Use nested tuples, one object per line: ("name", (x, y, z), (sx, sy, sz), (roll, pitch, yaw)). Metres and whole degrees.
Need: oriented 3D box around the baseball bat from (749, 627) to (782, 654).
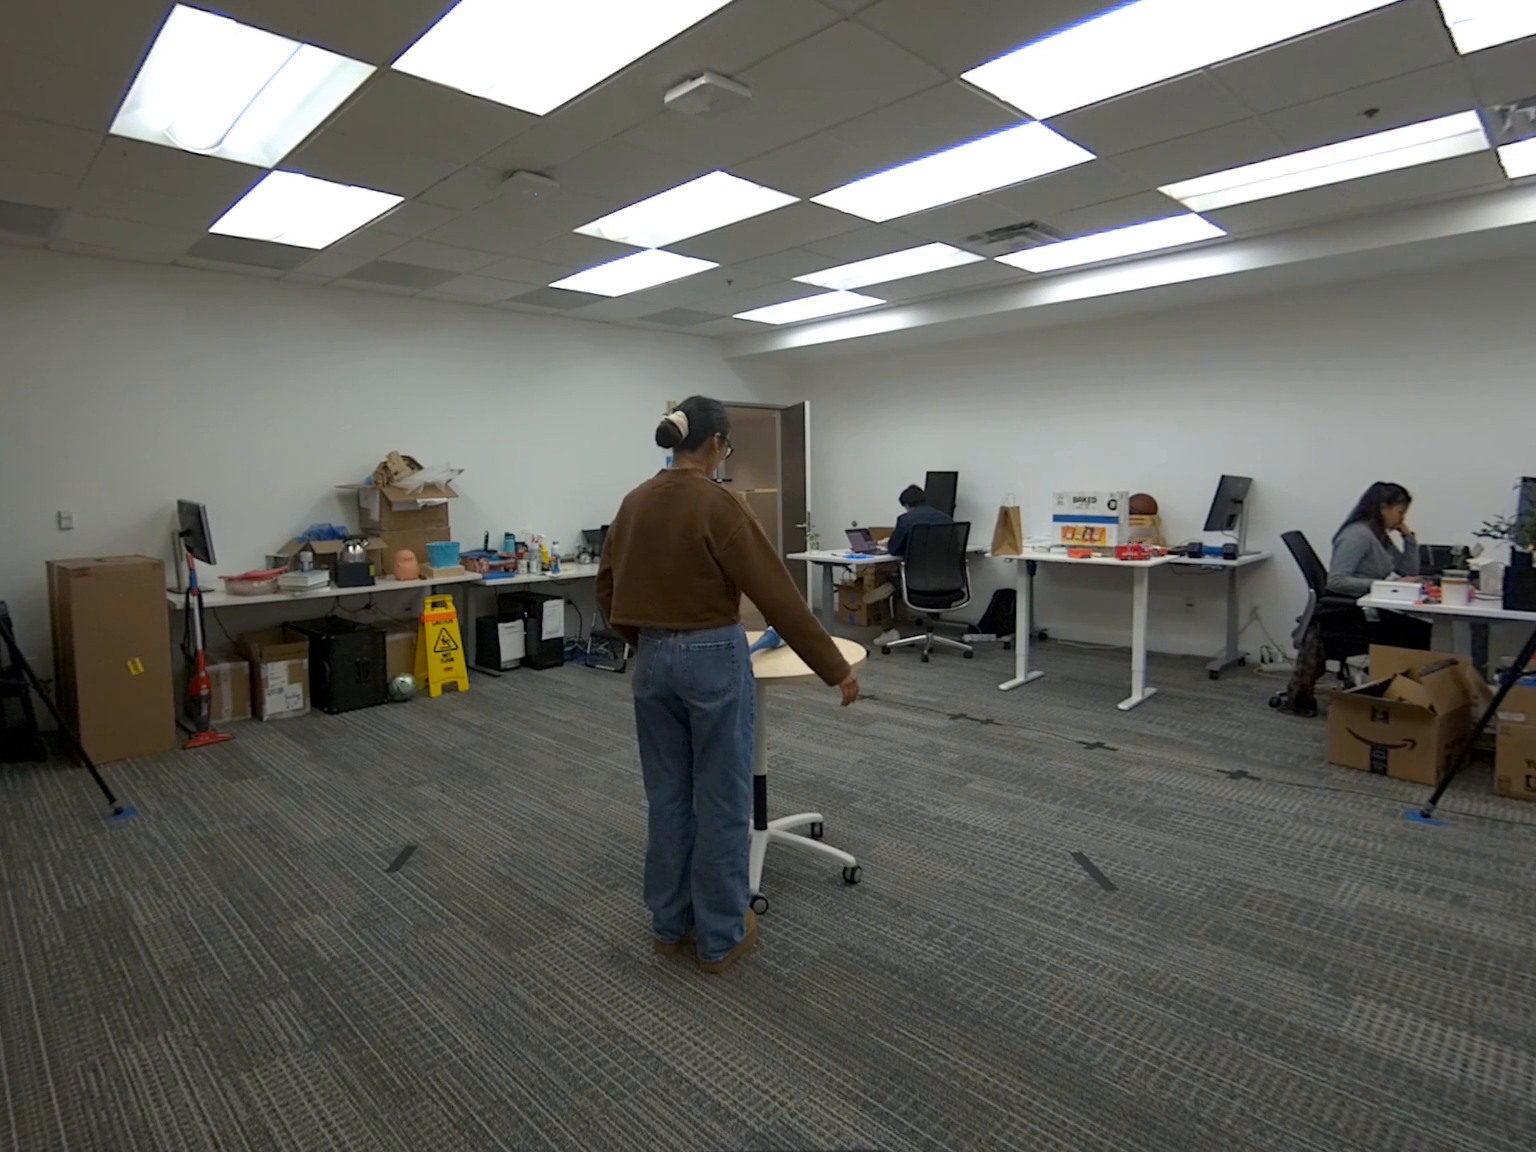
("baseball bat", (0.009, 0.230, 3.037), (0.091, 0.088, 0.535), (1, 10, 23))
